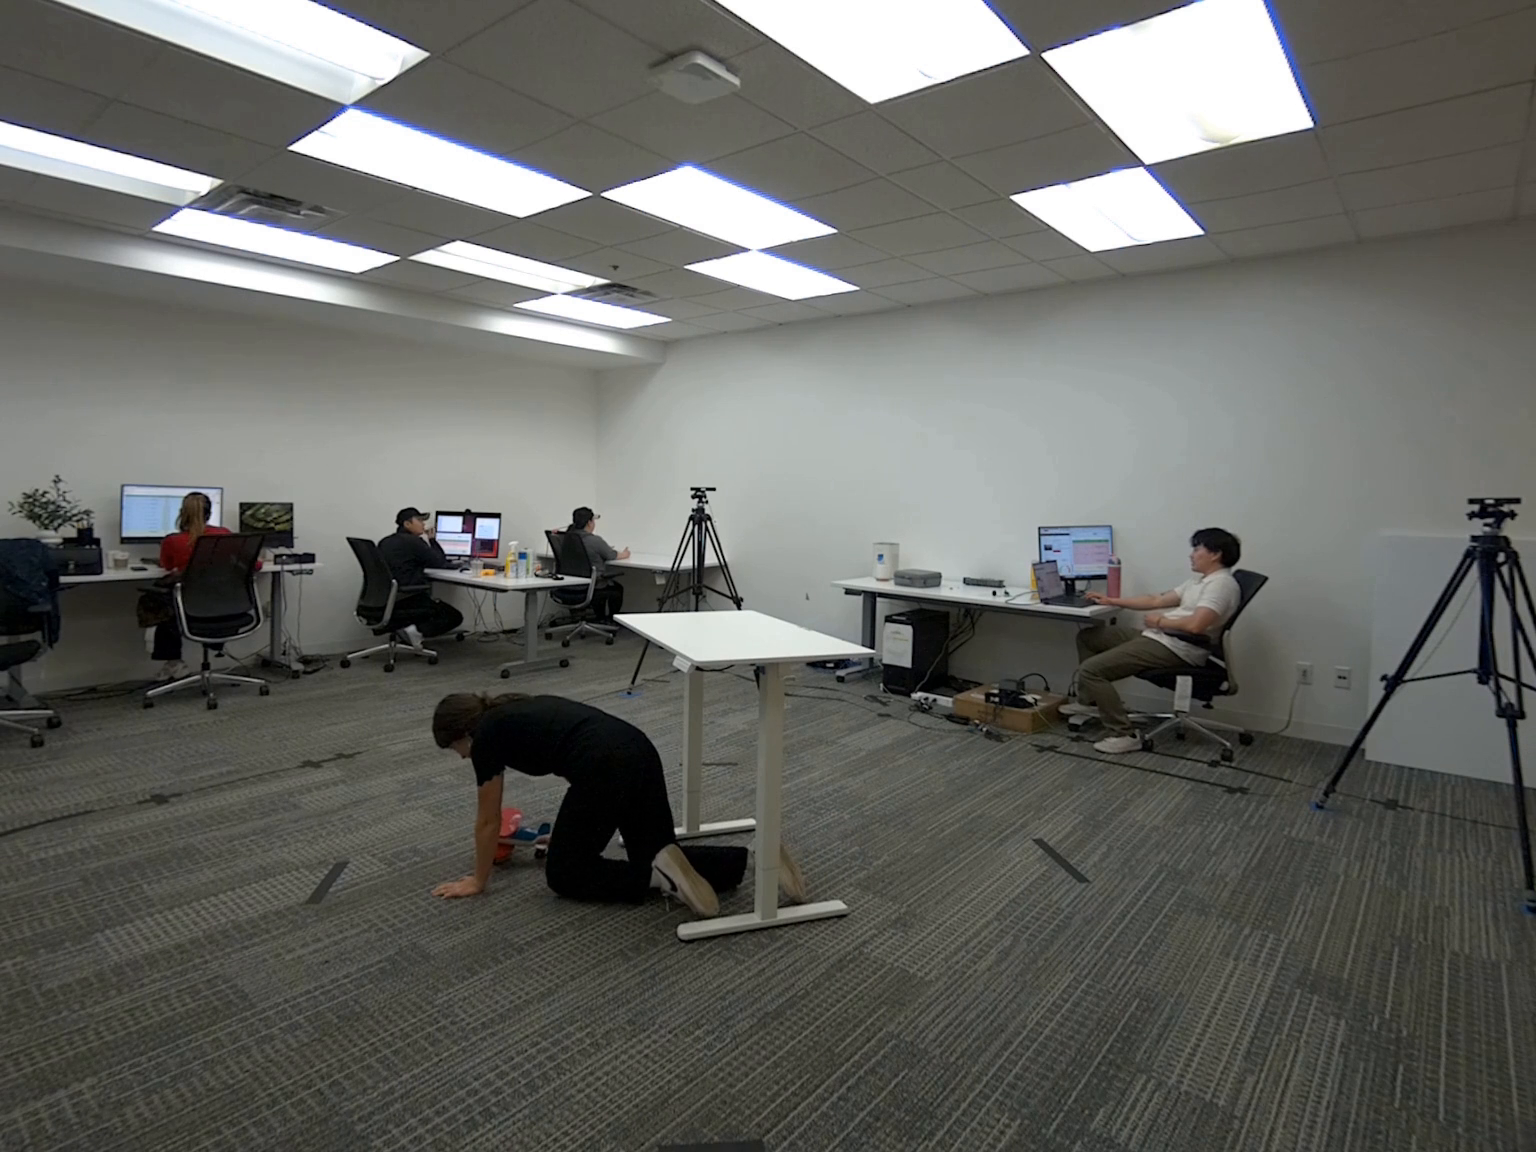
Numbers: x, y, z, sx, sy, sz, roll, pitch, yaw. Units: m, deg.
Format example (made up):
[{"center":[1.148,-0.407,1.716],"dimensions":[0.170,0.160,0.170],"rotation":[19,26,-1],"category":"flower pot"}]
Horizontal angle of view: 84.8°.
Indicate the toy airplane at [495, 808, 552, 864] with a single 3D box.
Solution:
[{"center":[-0.962,0.971,3.176],"dimensions":[0.253,0.155,0.259],"rotation":[-8,7,-31],"category":"toy airplane"}]
